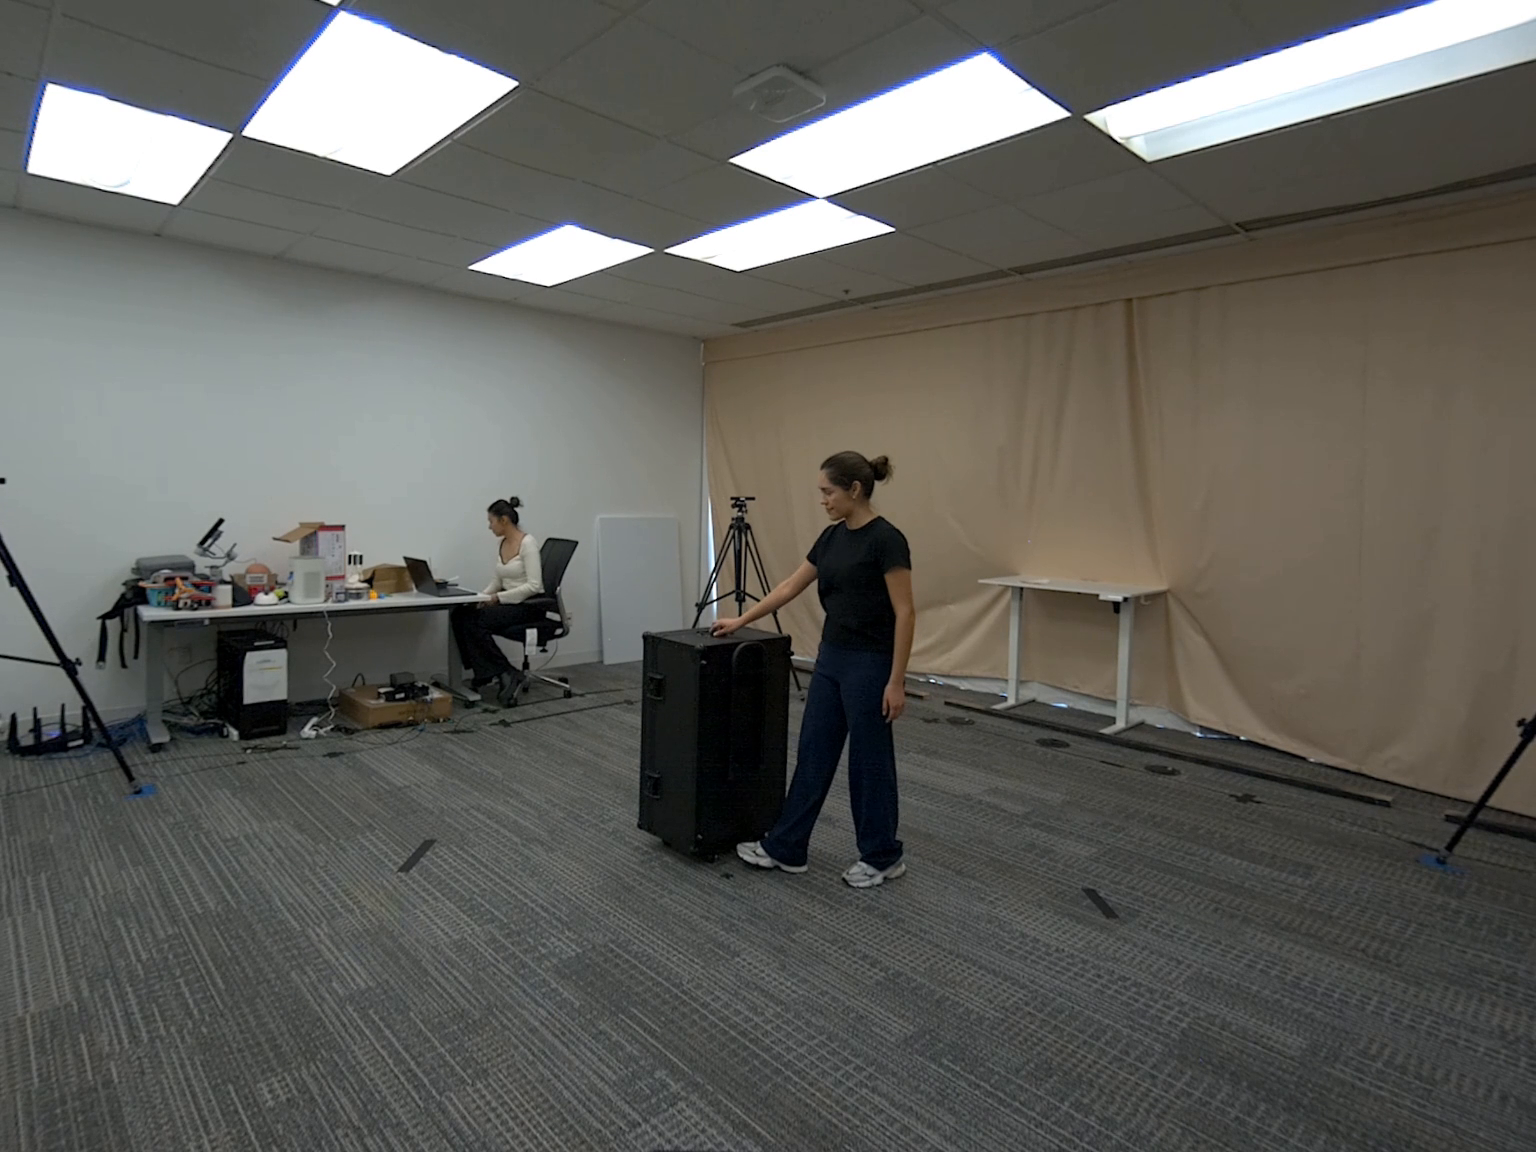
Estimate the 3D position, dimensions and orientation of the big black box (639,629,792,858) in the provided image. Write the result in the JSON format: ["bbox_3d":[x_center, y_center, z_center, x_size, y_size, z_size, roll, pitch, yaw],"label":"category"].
[{"bbox_3d":[-0.205,0.661,3.351,0.509,0.859,0.407,-2,6,-44],"label":"big black box"}]
